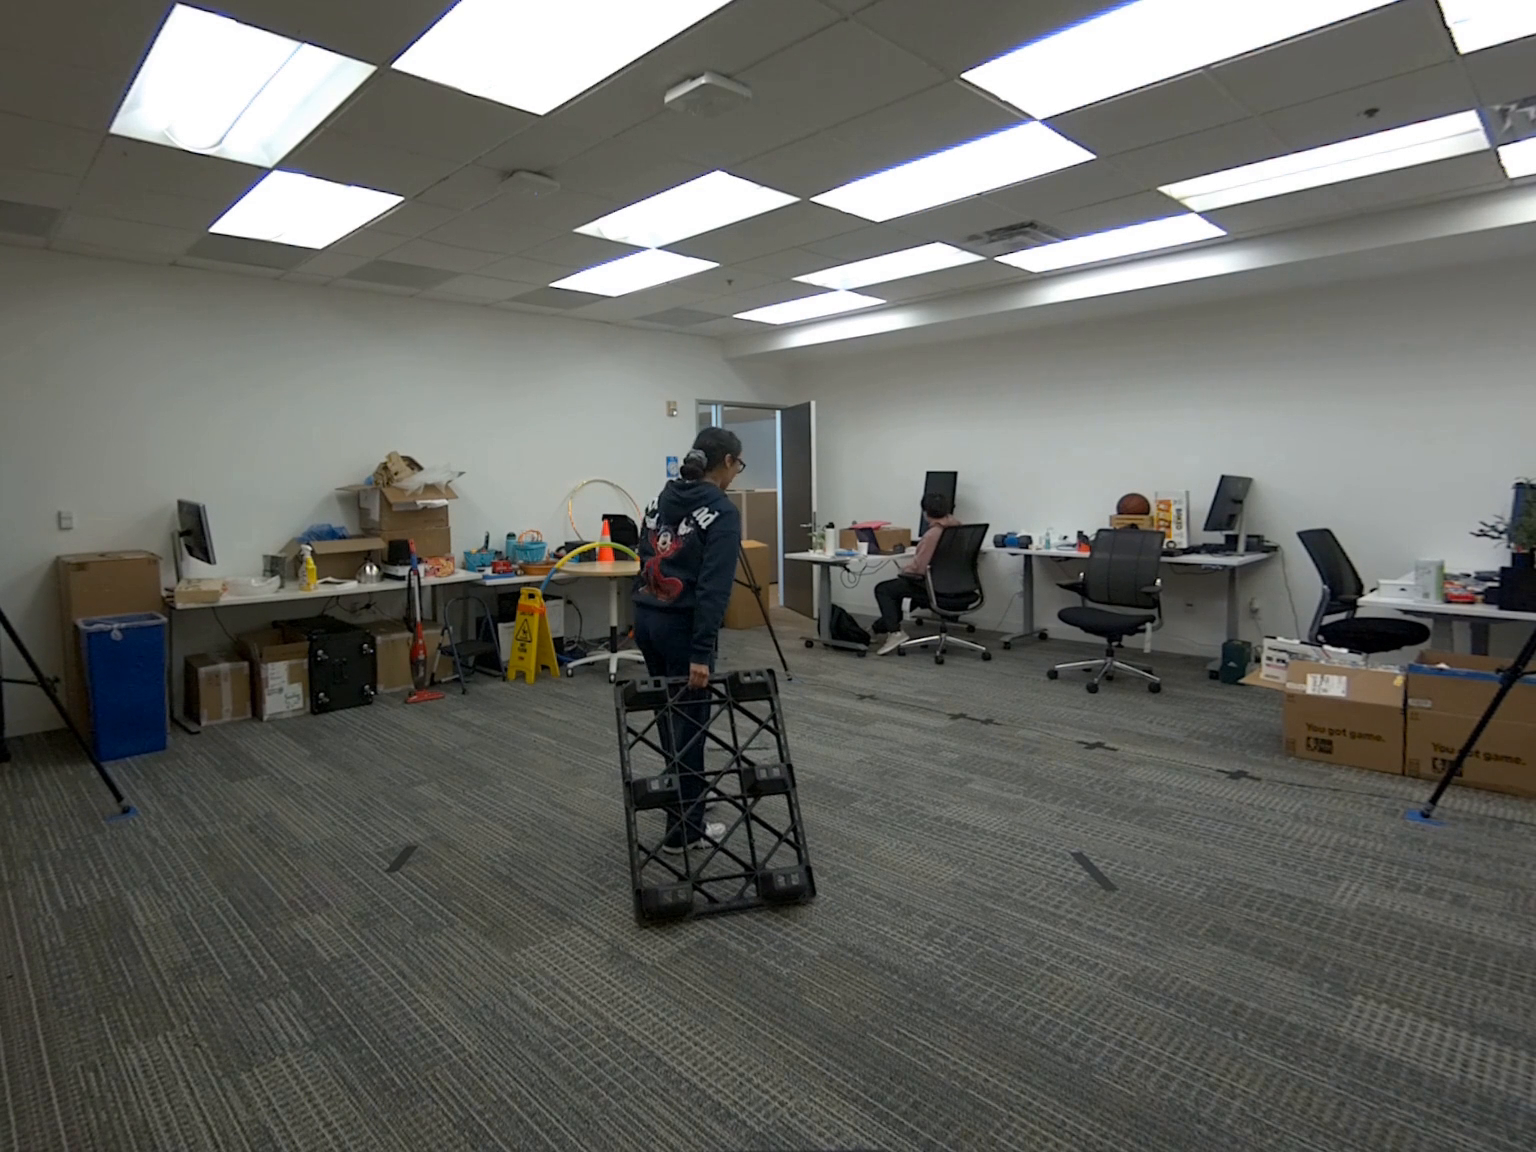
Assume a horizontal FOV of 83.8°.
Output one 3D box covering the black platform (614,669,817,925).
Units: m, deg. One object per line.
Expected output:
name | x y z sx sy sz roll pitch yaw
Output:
black platform | -0.178 0.705 2.889 0.598 0.827 0.141 -4 -28 -13
